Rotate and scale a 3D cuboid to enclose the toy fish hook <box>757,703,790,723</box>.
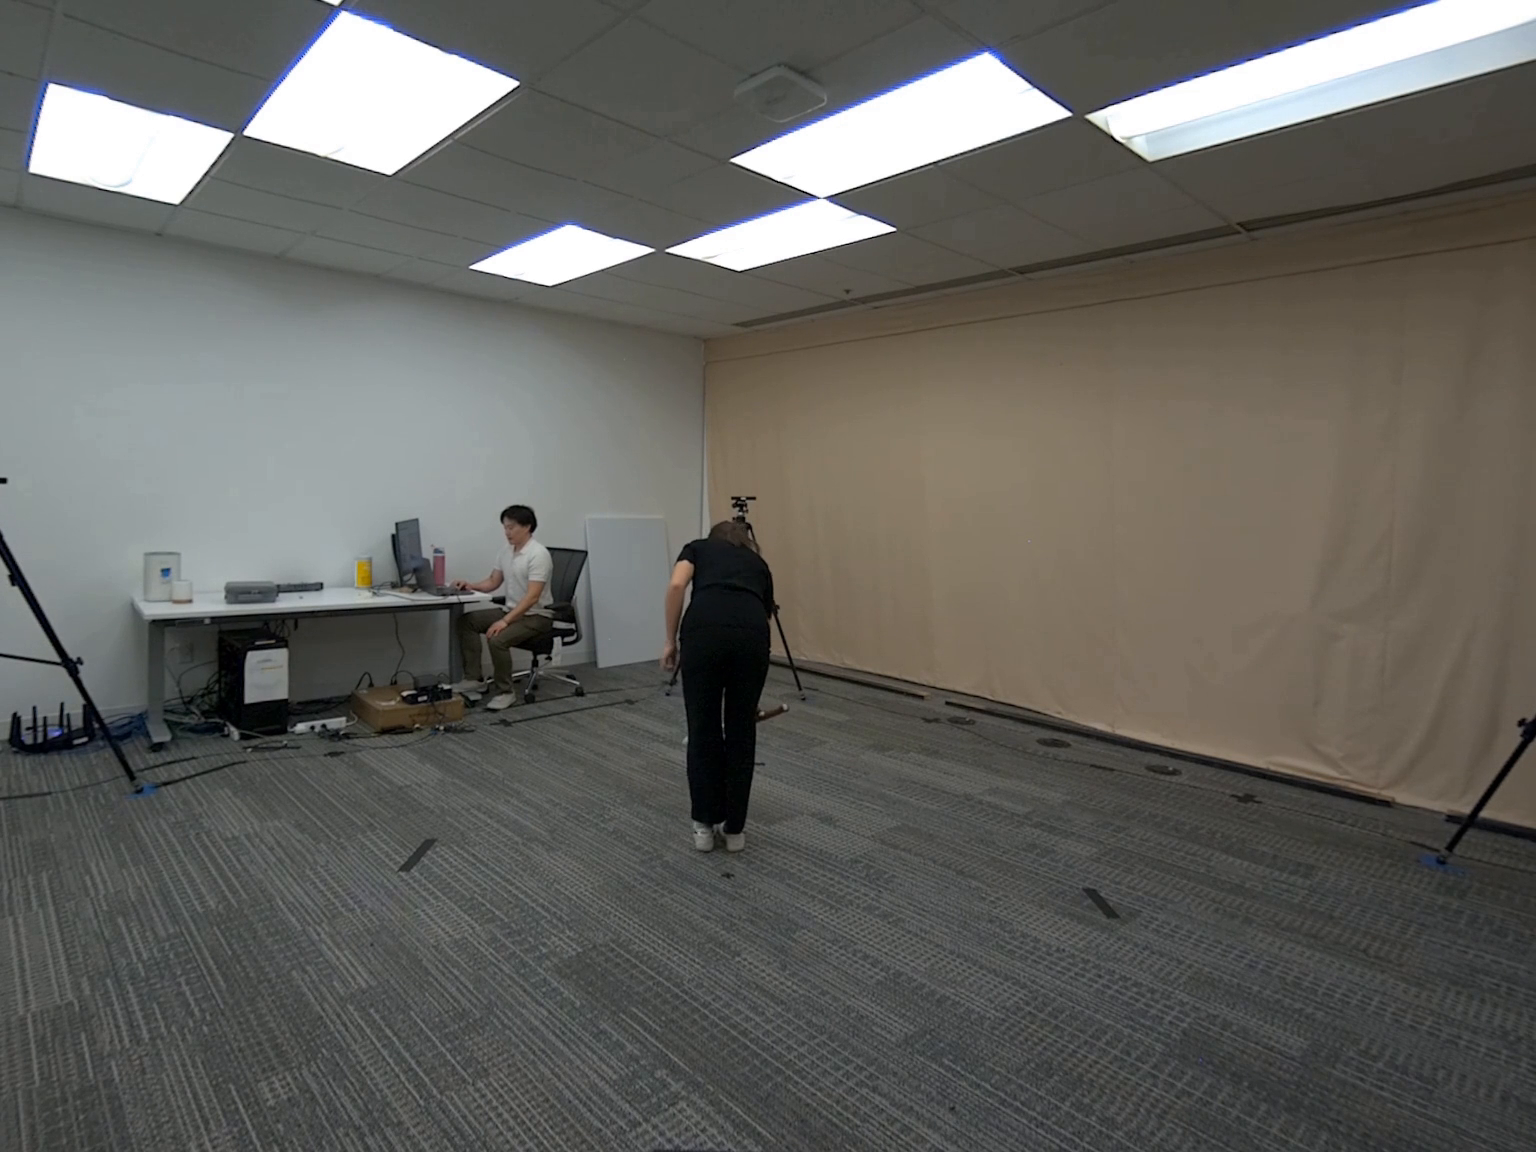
[{"bbox_3d":[-0.135,0.658,3.670,0.510,0.049,0.219,-20,-17,13],"label":"toy fish hook"}]
